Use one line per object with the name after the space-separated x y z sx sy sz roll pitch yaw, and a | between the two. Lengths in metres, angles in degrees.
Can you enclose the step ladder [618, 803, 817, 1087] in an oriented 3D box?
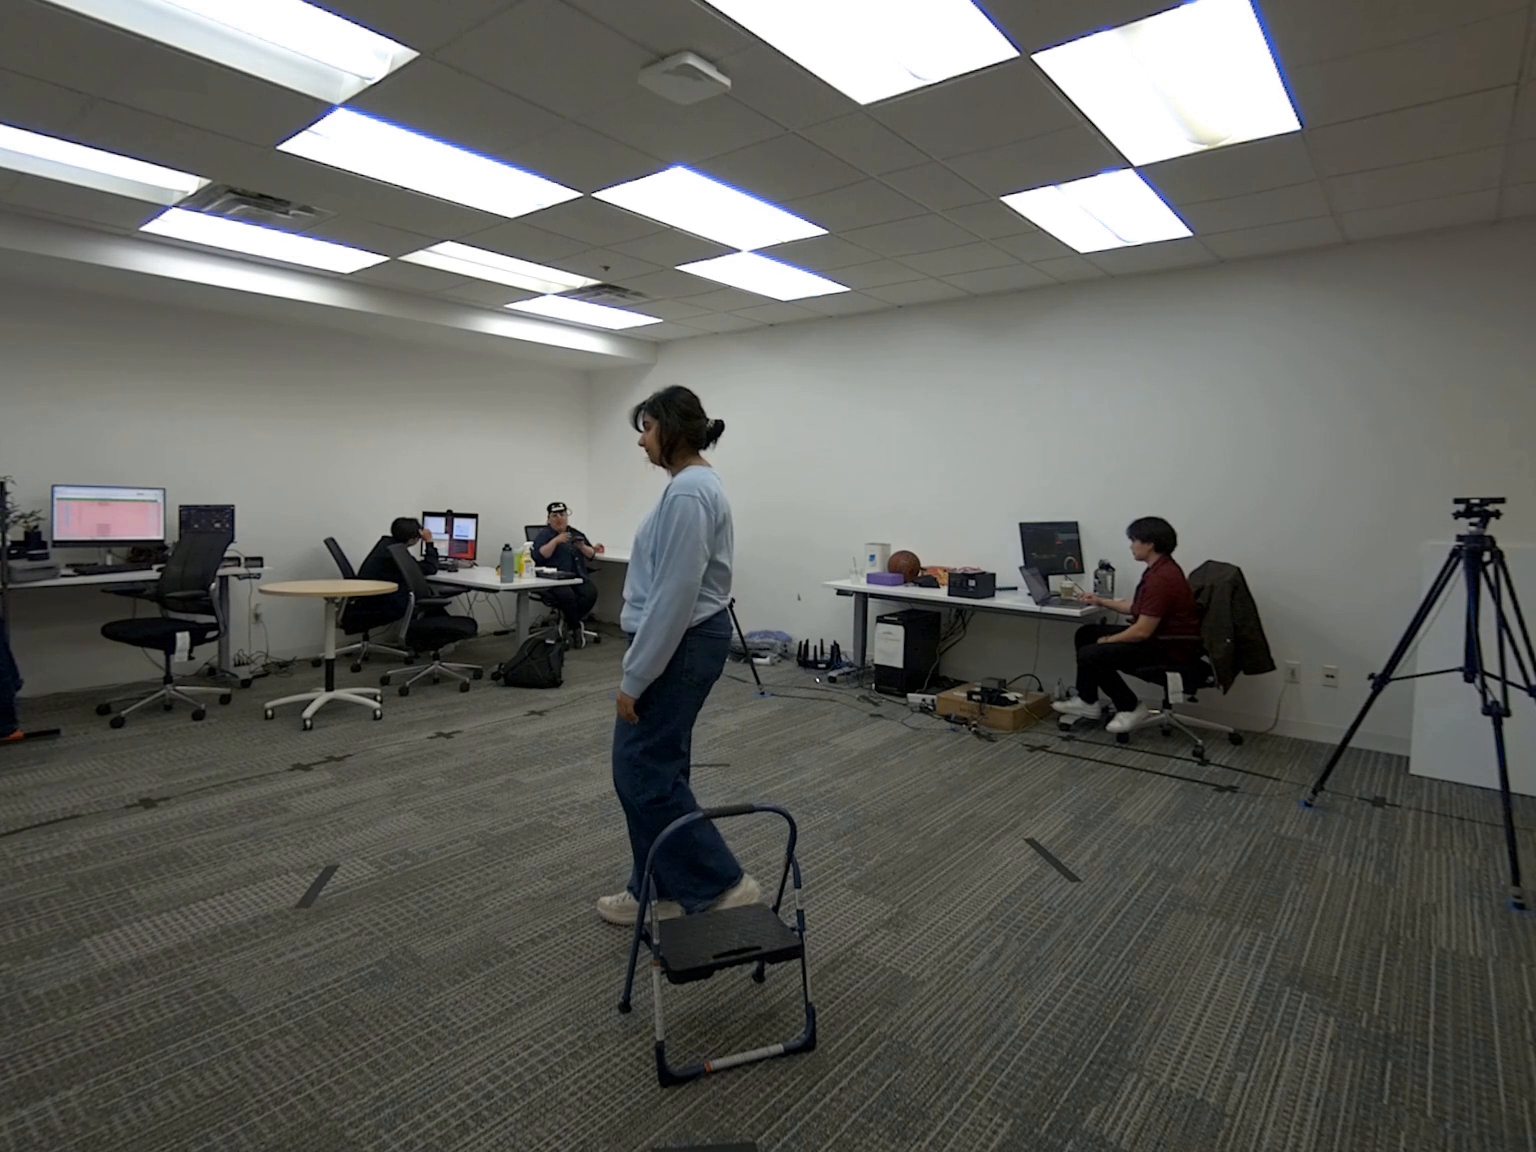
-0.134 0.865 2.185 0.421 0.604 0.359 -1 4 -25 | step ladder
